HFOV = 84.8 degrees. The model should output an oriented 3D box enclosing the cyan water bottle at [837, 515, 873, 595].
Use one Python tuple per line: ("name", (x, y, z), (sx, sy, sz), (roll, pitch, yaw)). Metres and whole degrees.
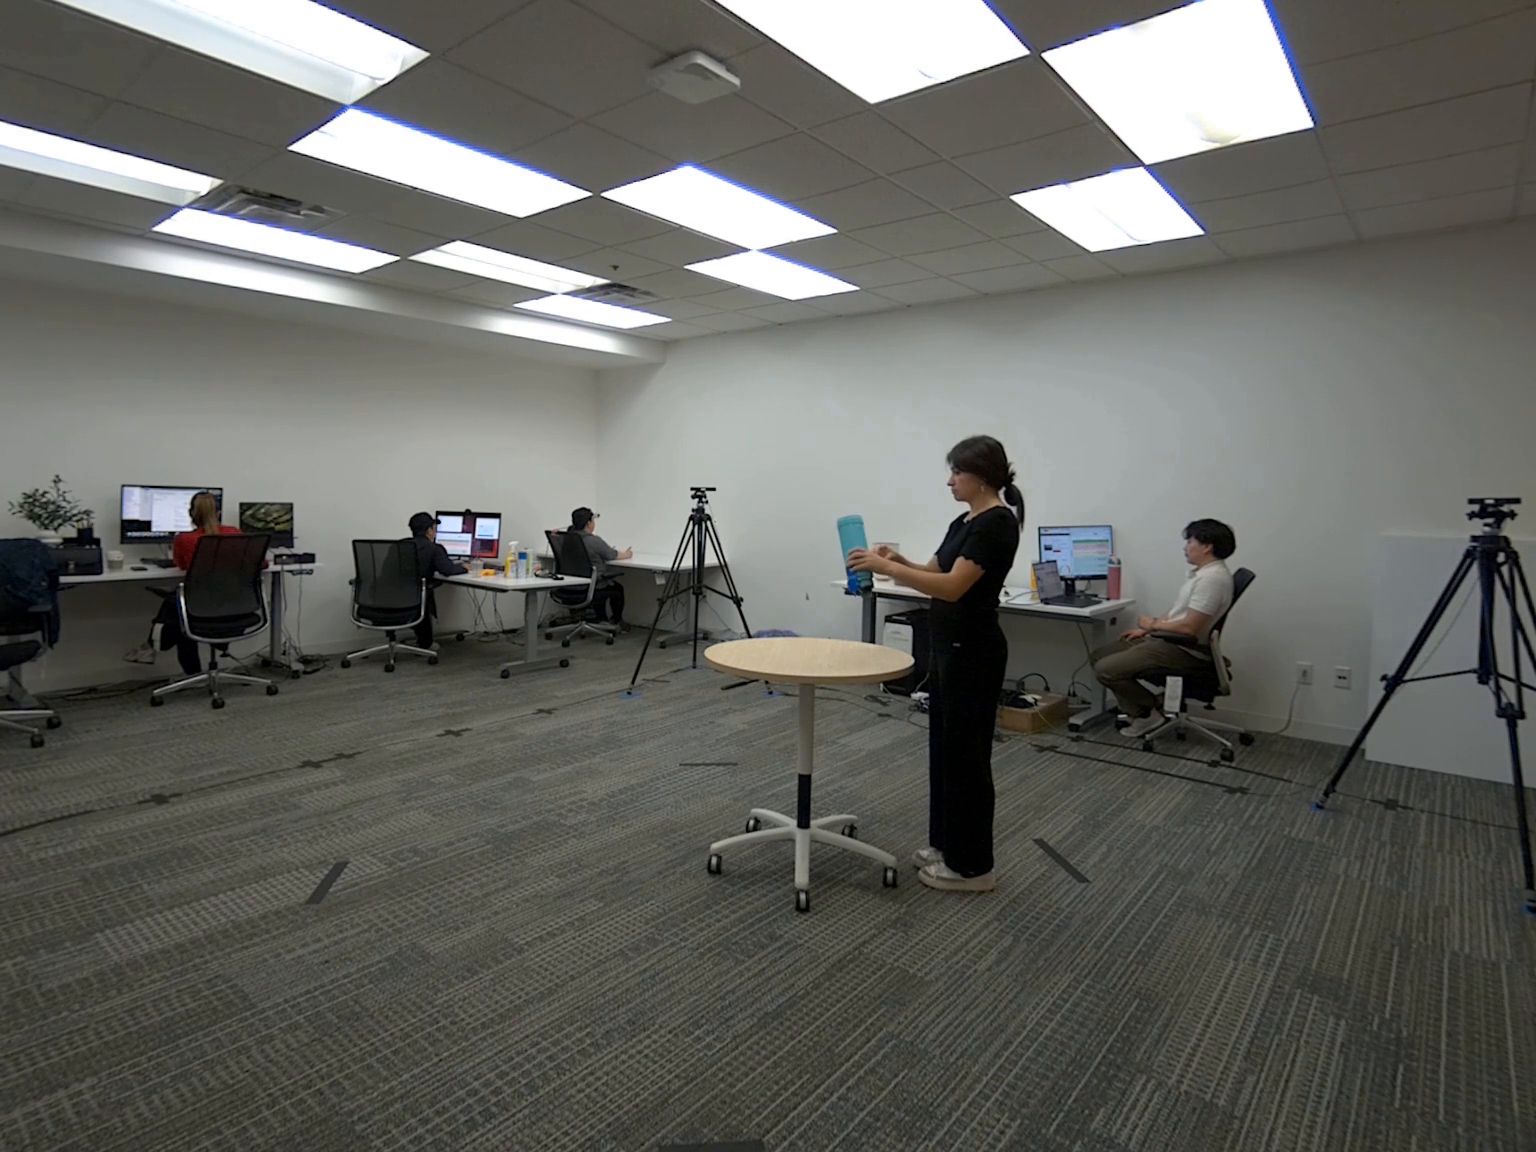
("cyan water bottle", (0.304, -0.061, 2.918), (0.092, 0.288, 0.091), (-5, -16, -3))
